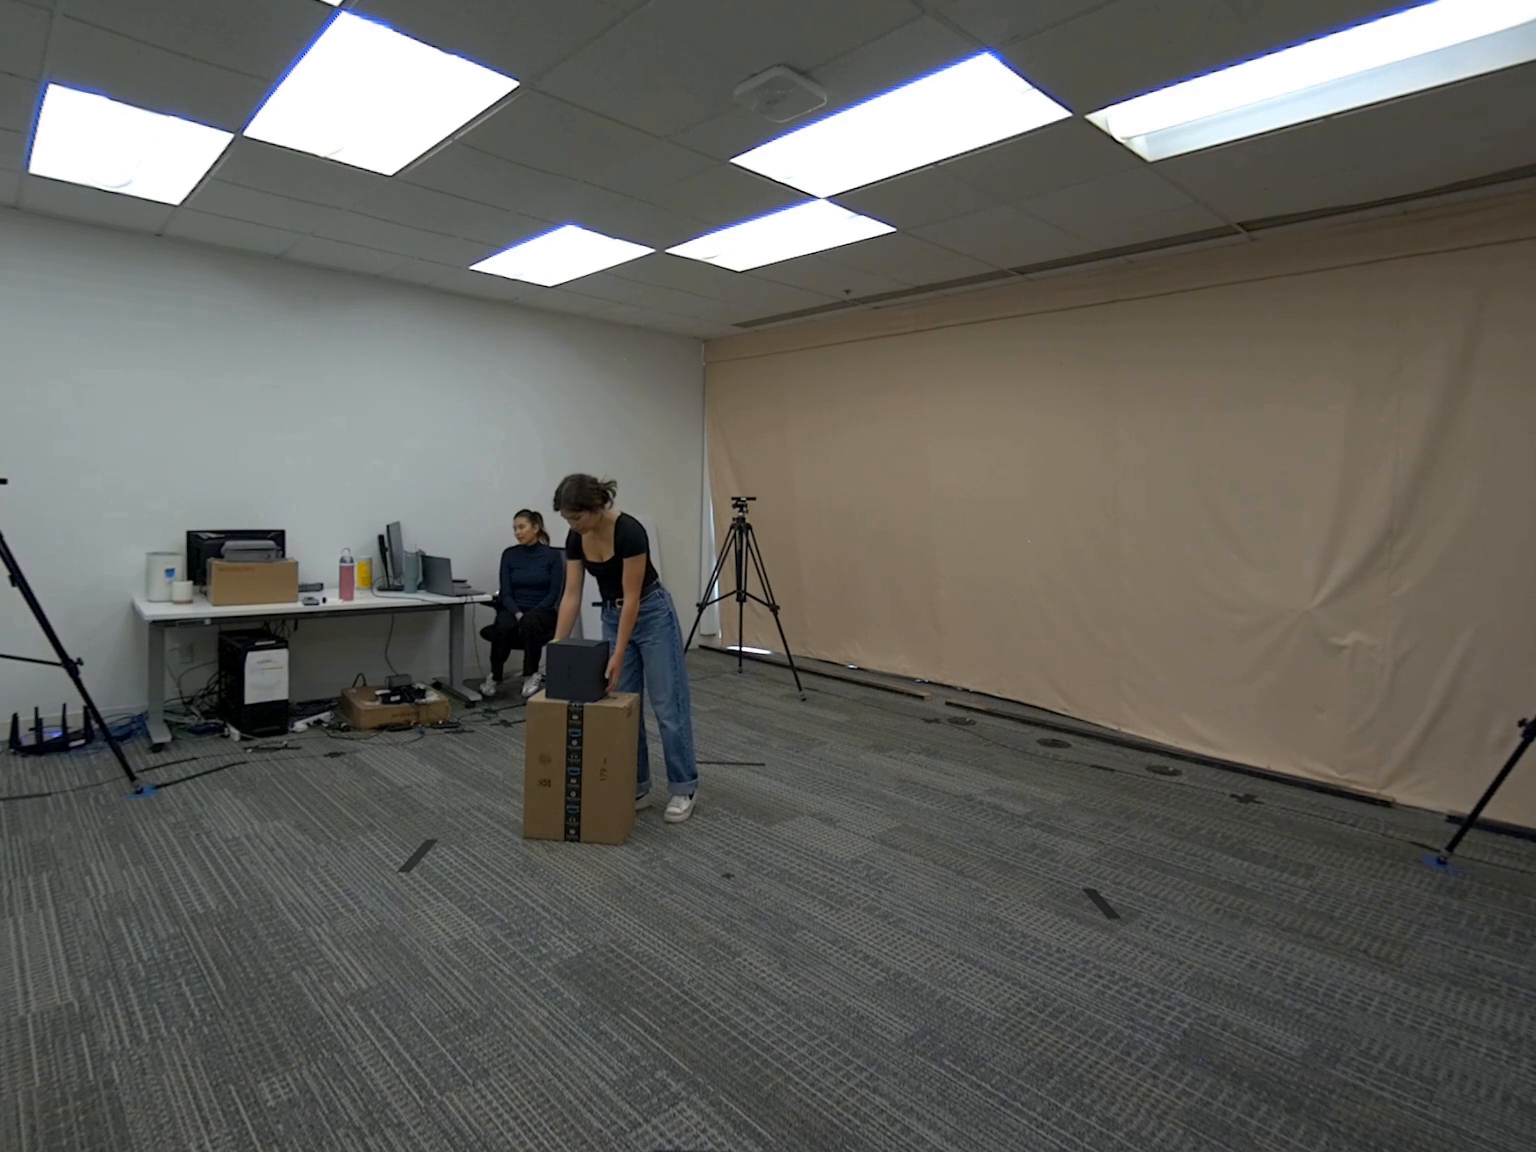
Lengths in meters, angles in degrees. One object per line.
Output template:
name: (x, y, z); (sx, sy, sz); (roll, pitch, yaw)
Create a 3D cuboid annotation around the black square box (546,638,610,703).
black square box: (-0.790, 0.378, 3.445); (0.219, 0.227, 0.155); (2, 3, 10)
